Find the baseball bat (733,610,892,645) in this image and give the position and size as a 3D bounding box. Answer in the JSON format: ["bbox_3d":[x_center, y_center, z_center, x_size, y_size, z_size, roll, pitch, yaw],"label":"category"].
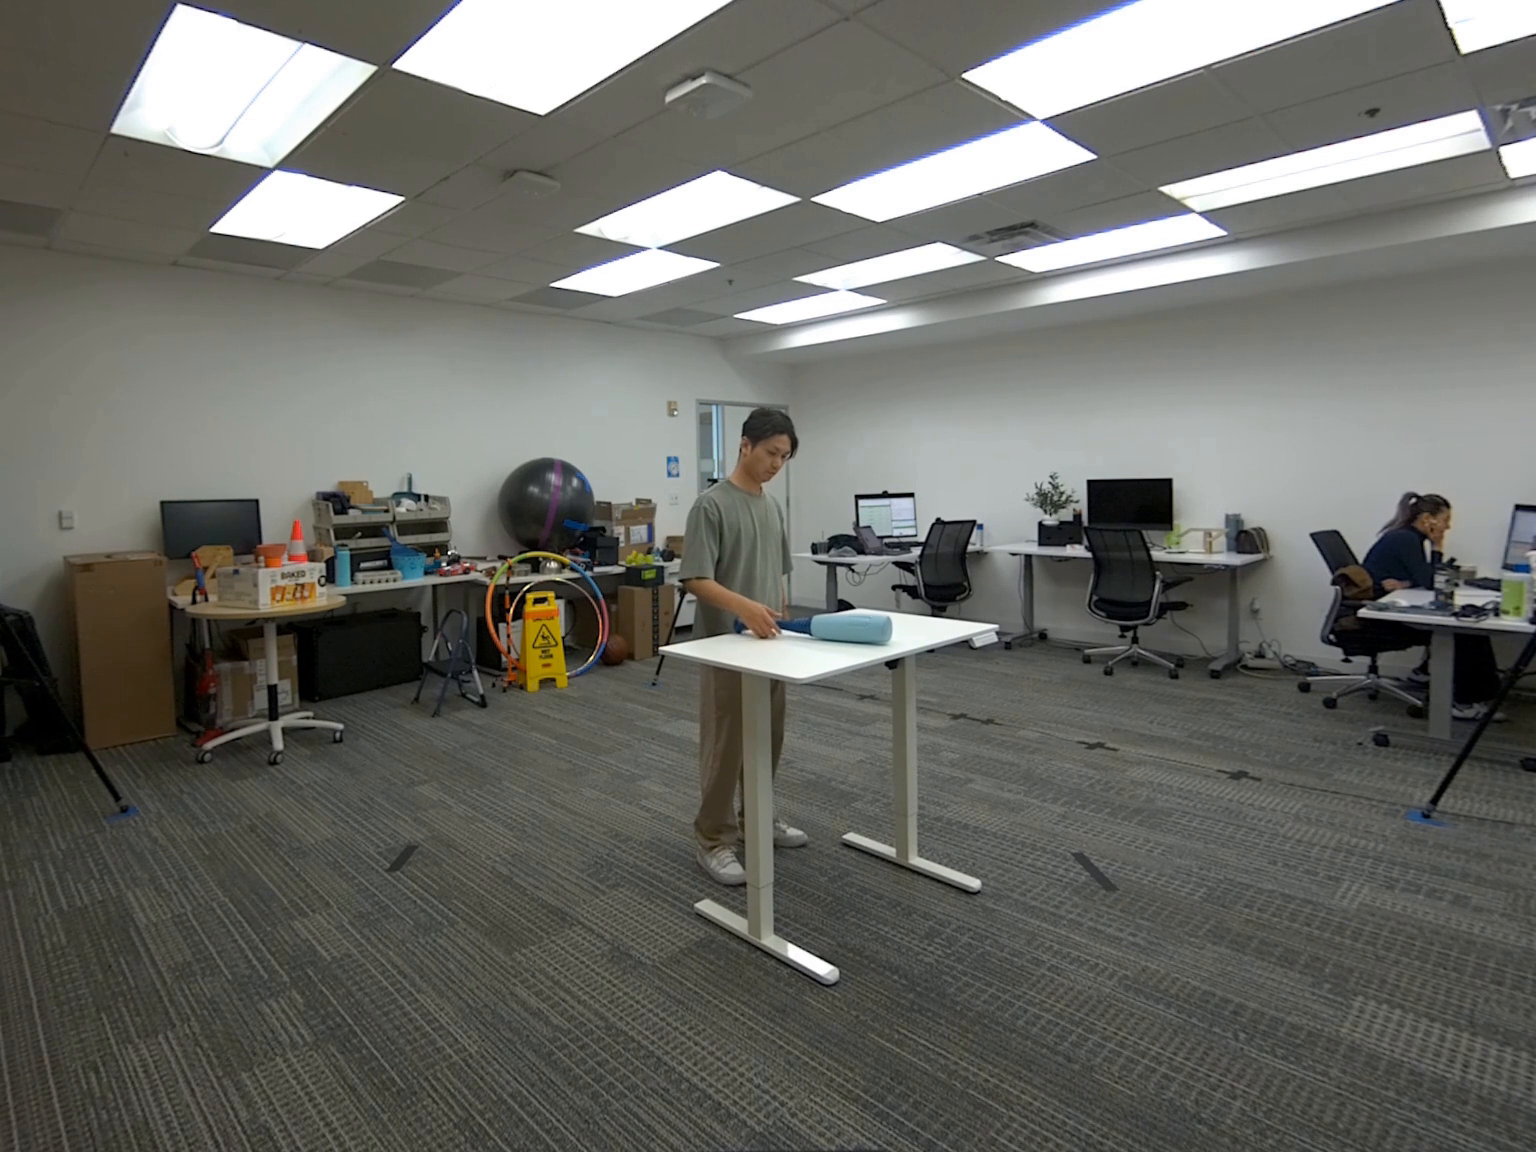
[{"bbox_3d":[0.147,0.169,2.732,0.556,0.089,0.087,-1,4,28],"label":"baseball bat"}]
